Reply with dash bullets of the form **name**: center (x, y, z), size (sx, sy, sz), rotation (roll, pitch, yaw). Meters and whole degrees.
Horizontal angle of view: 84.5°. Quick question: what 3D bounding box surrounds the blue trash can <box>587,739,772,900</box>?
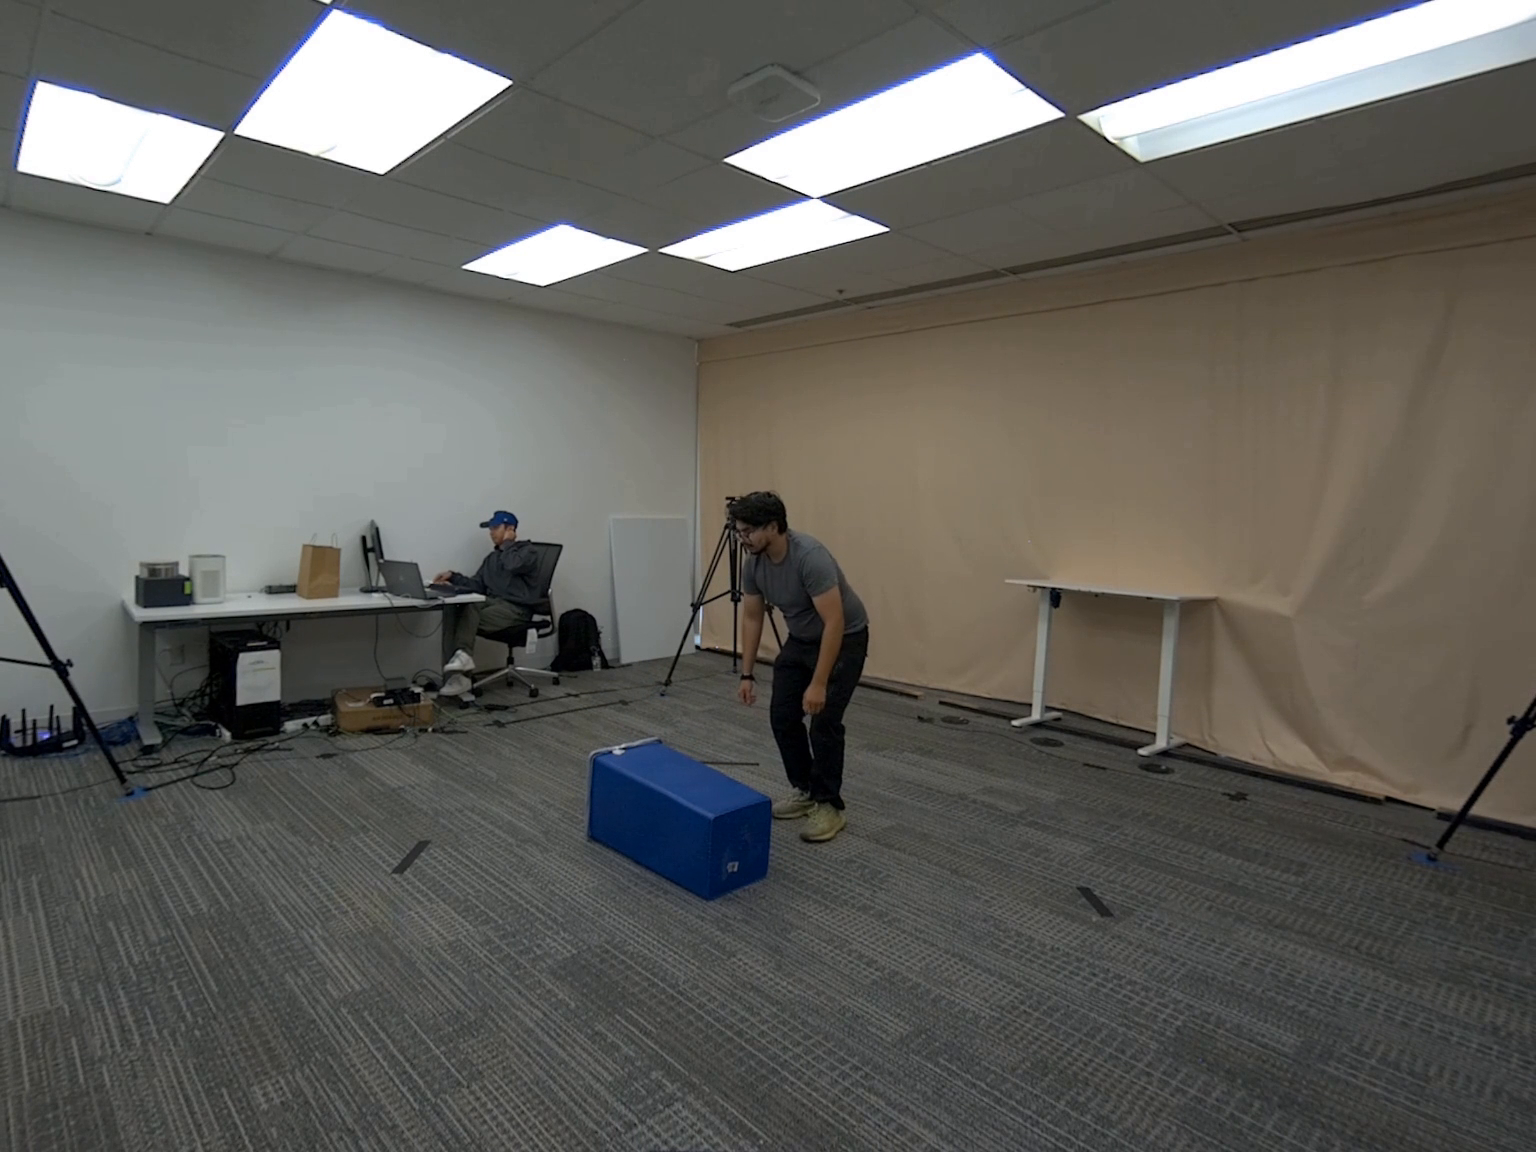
- **blue trash can**: center (-0.360, 0.917, 3.236), size (0.365, 0.377, 0.732), rotation (-1, 7, -43)
